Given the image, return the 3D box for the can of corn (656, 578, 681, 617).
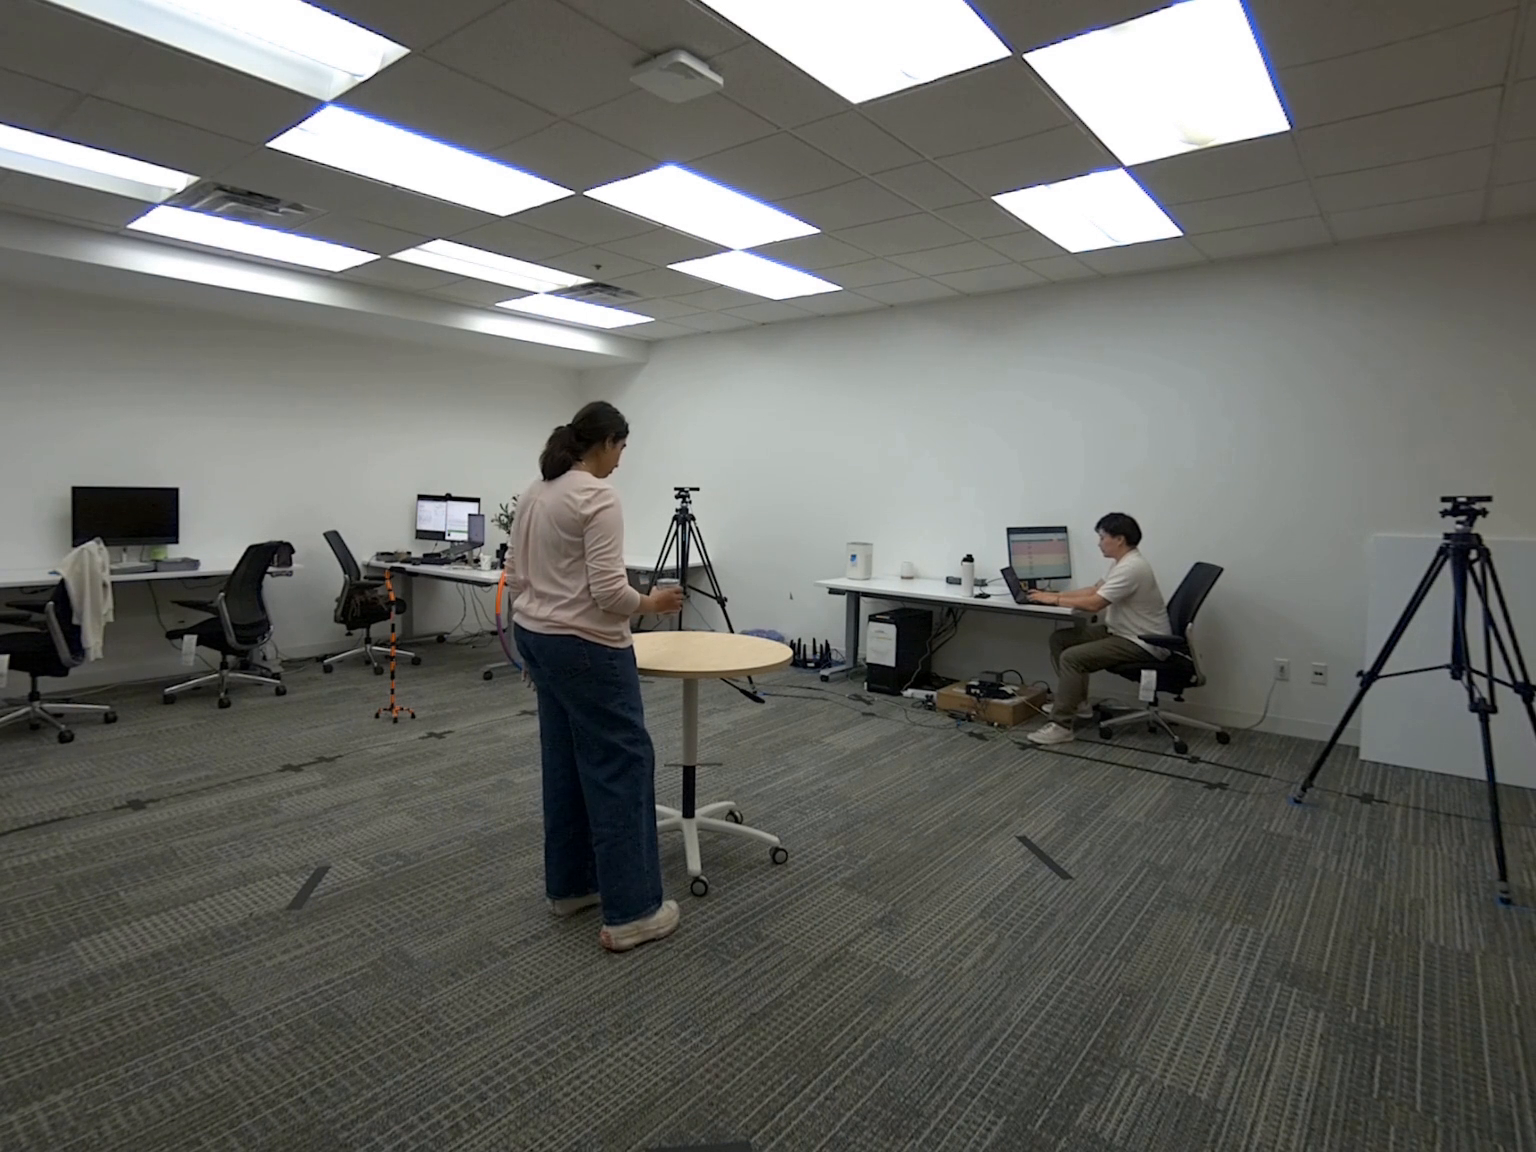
[{"bbox_3d":[-0.339,0.072,2.856,0.074,0.110,0.075,2,10,-2],"label":"can of corn"}]
